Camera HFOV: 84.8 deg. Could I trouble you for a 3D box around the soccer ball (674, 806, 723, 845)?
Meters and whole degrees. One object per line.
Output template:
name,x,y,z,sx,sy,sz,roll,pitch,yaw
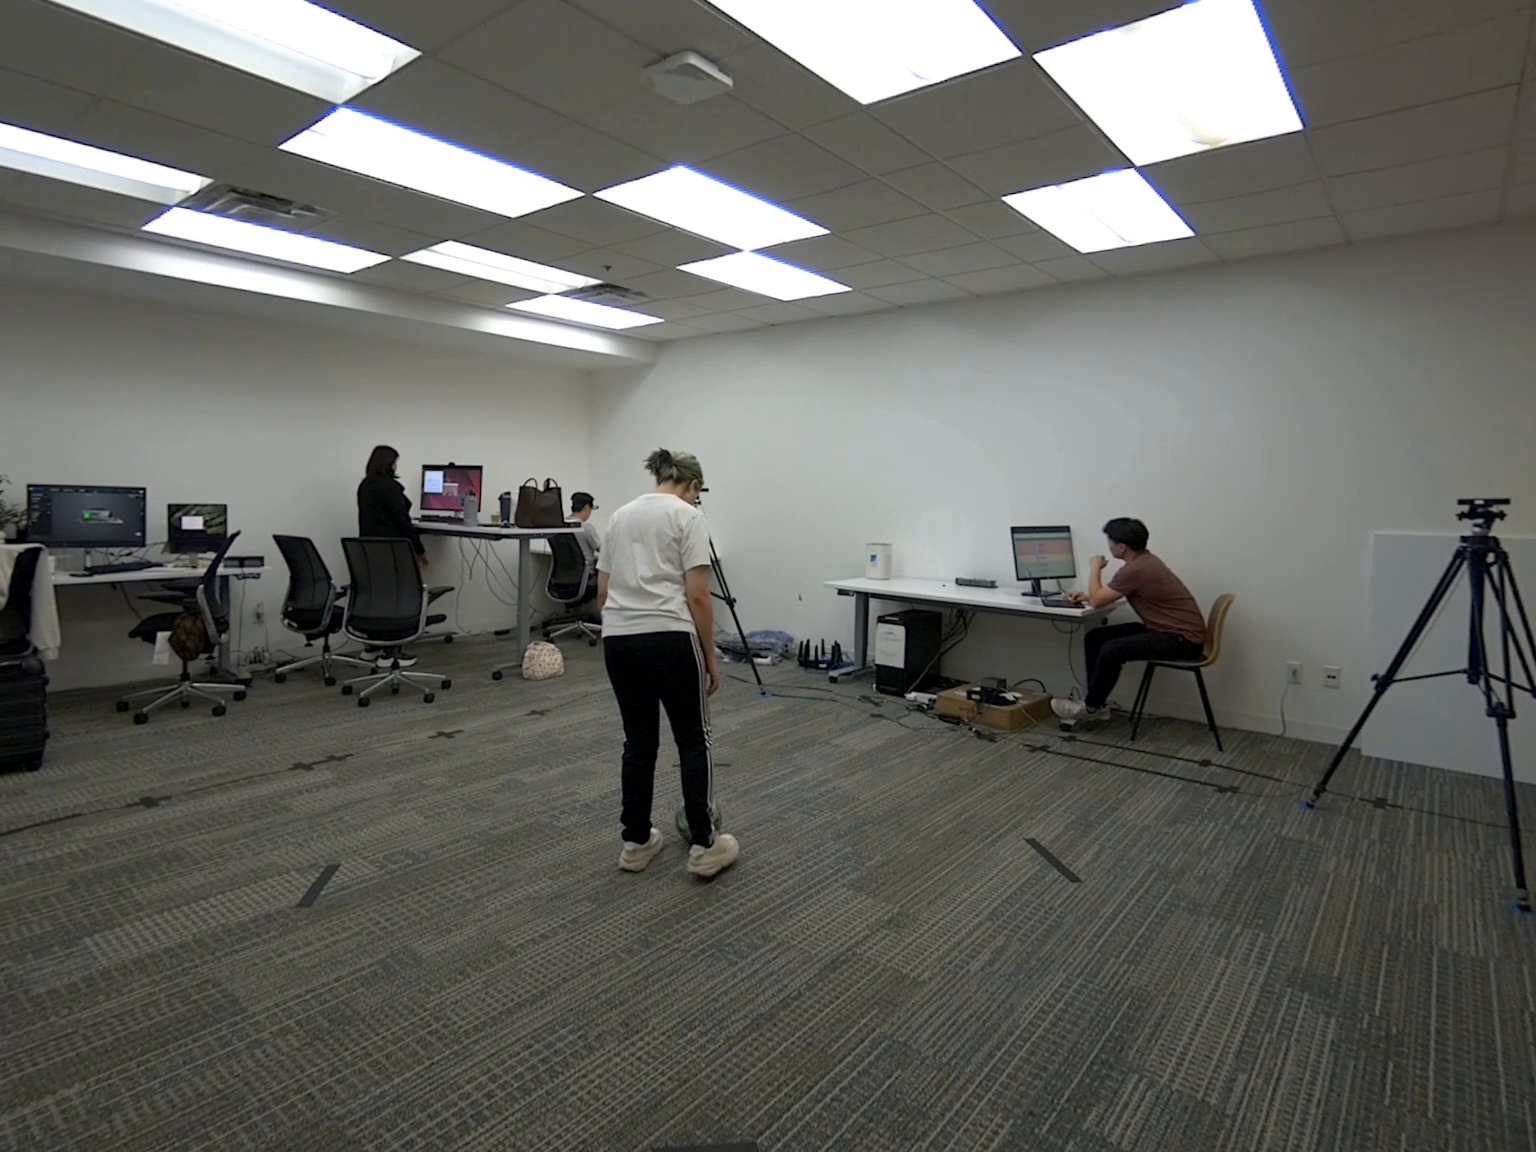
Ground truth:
soccer ball,-0.281,0.951,3.350,0.187,0.187,0.188,1,4,-2
